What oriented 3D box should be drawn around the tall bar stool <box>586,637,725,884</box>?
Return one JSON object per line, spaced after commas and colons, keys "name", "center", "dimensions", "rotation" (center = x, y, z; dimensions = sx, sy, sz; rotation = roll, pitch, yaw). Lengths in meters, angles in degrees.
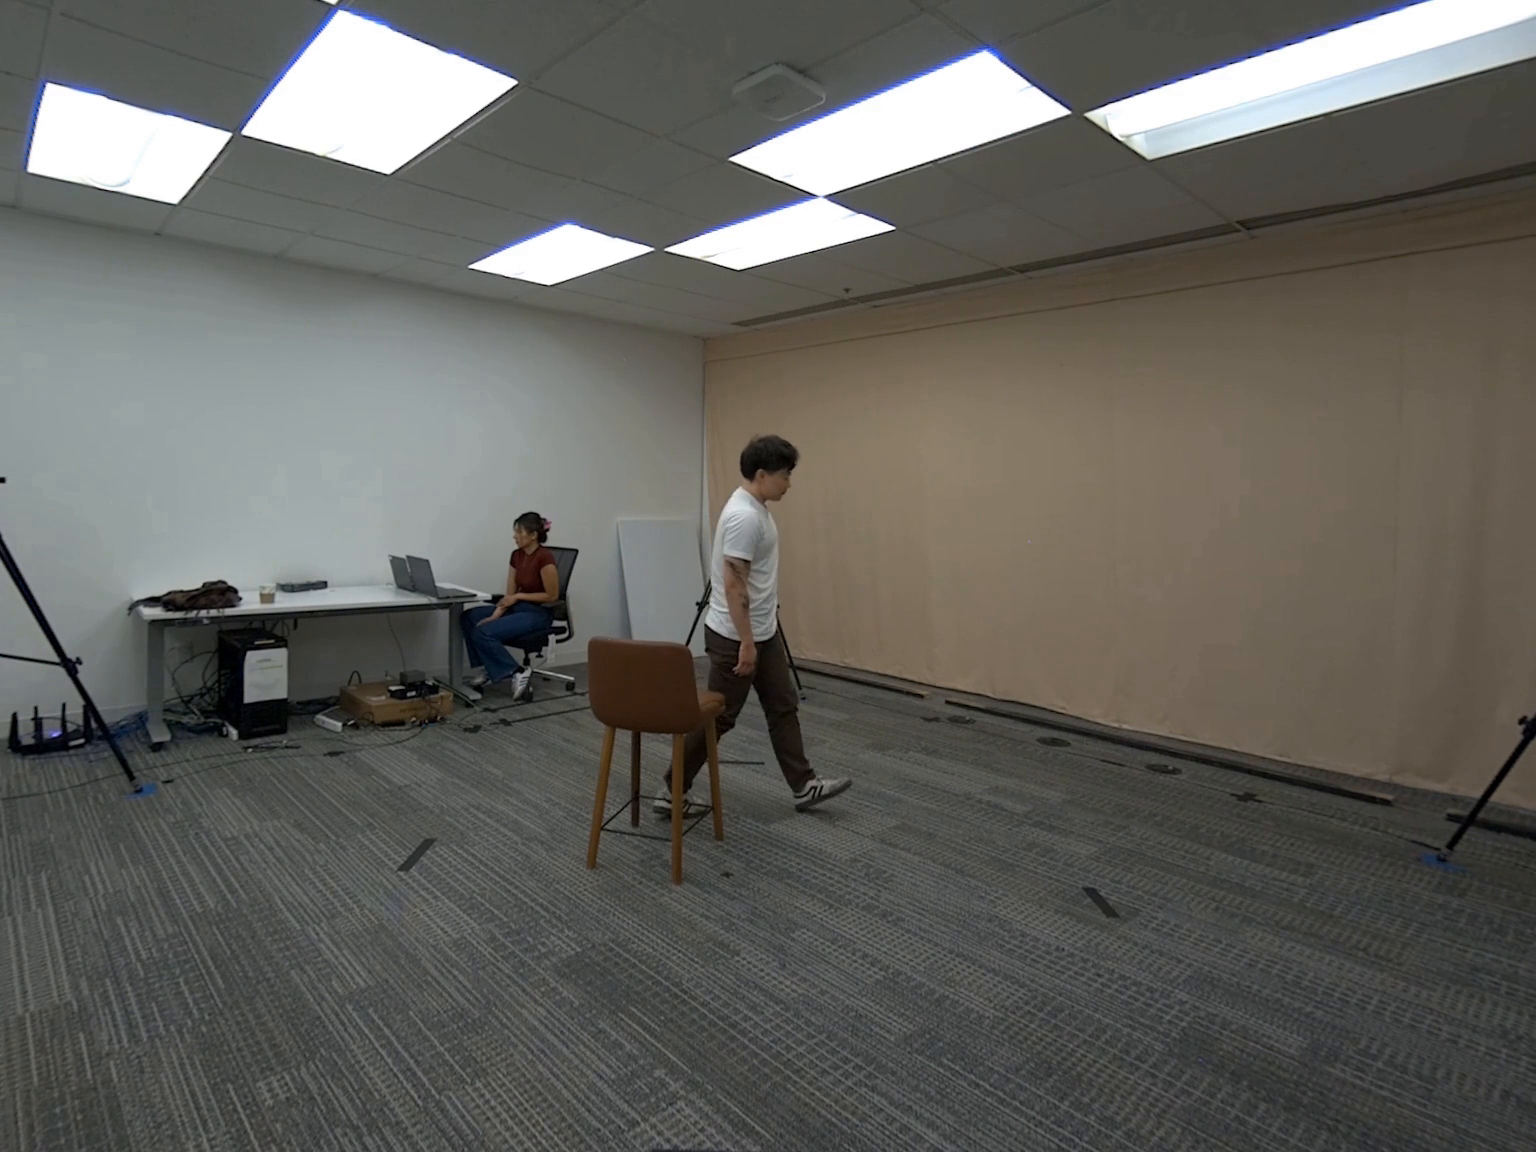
{"name": "tall bar stool", "center": [-0.437, 0.648, 3.256], "dimensions": [0.463, 0.887, 0.462], "rotation": [2, 5, 19]}
